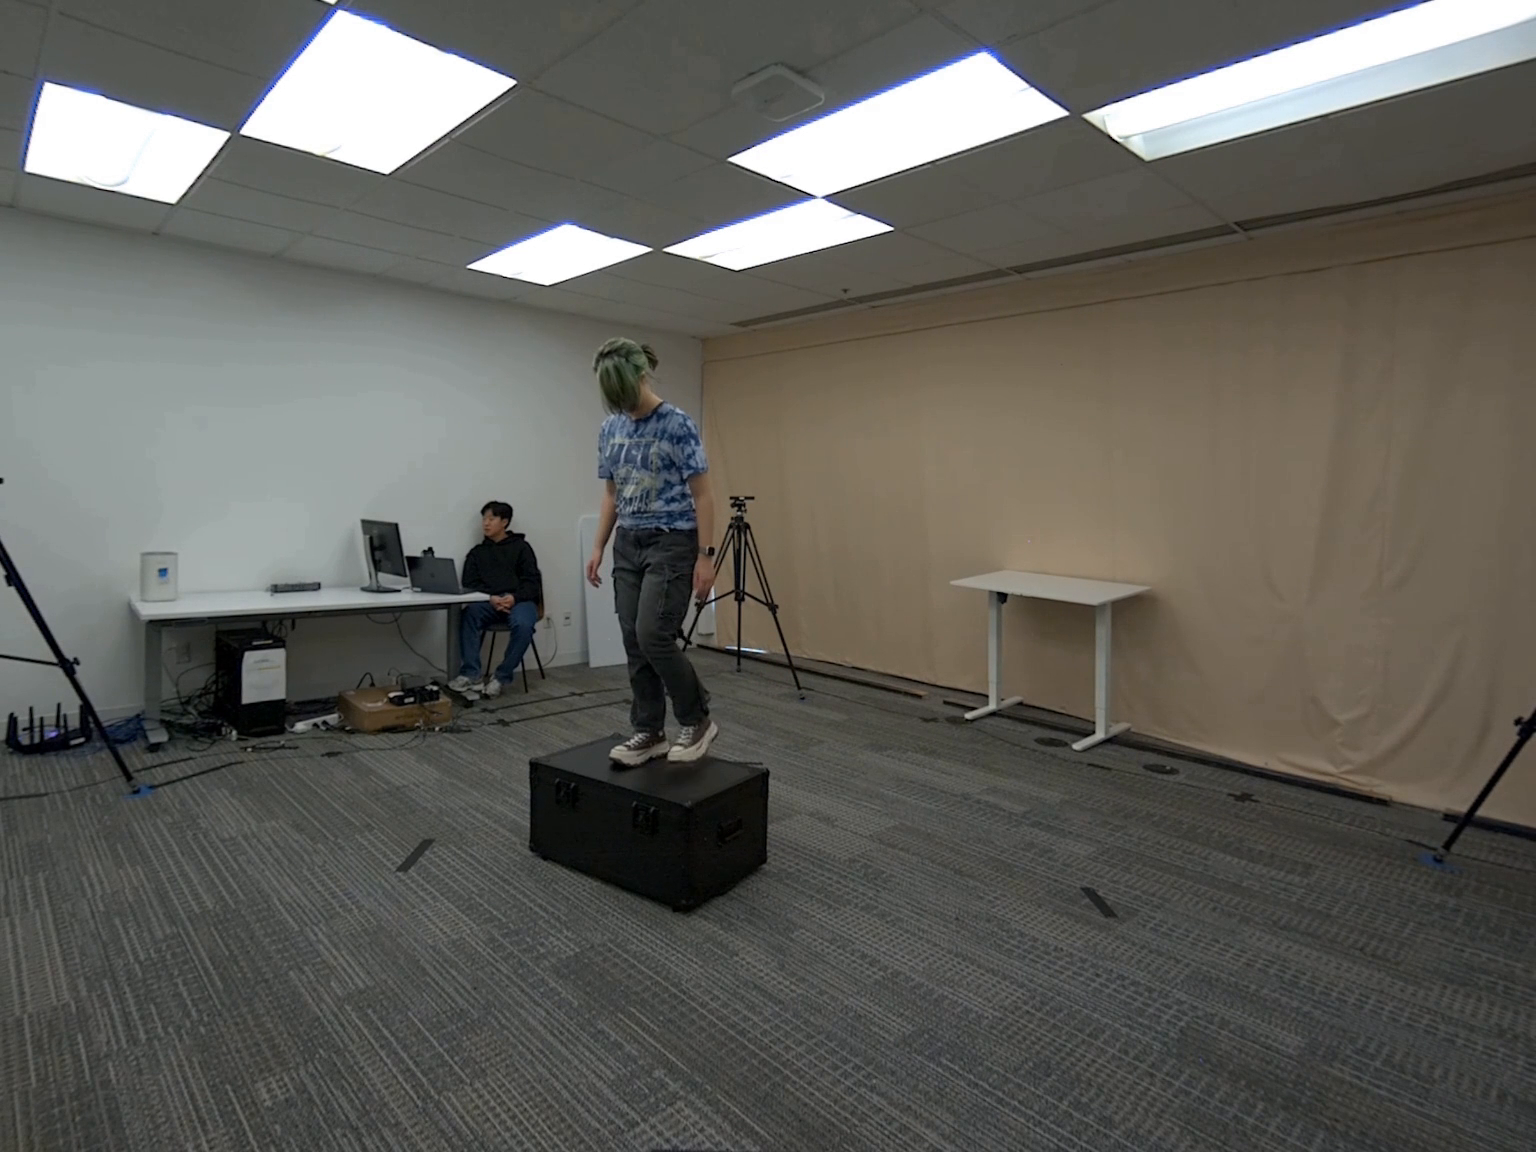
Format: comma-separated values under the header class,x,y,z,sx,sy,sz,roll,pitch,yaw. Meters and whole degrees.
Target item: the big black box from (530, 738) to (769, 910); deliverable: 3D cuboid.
class,x,y,z,sx,sy,sz,roll,pitch,yaw
big black box,-0.488,0.898,3.206,0.882,0.395,0.510,5,6,35
